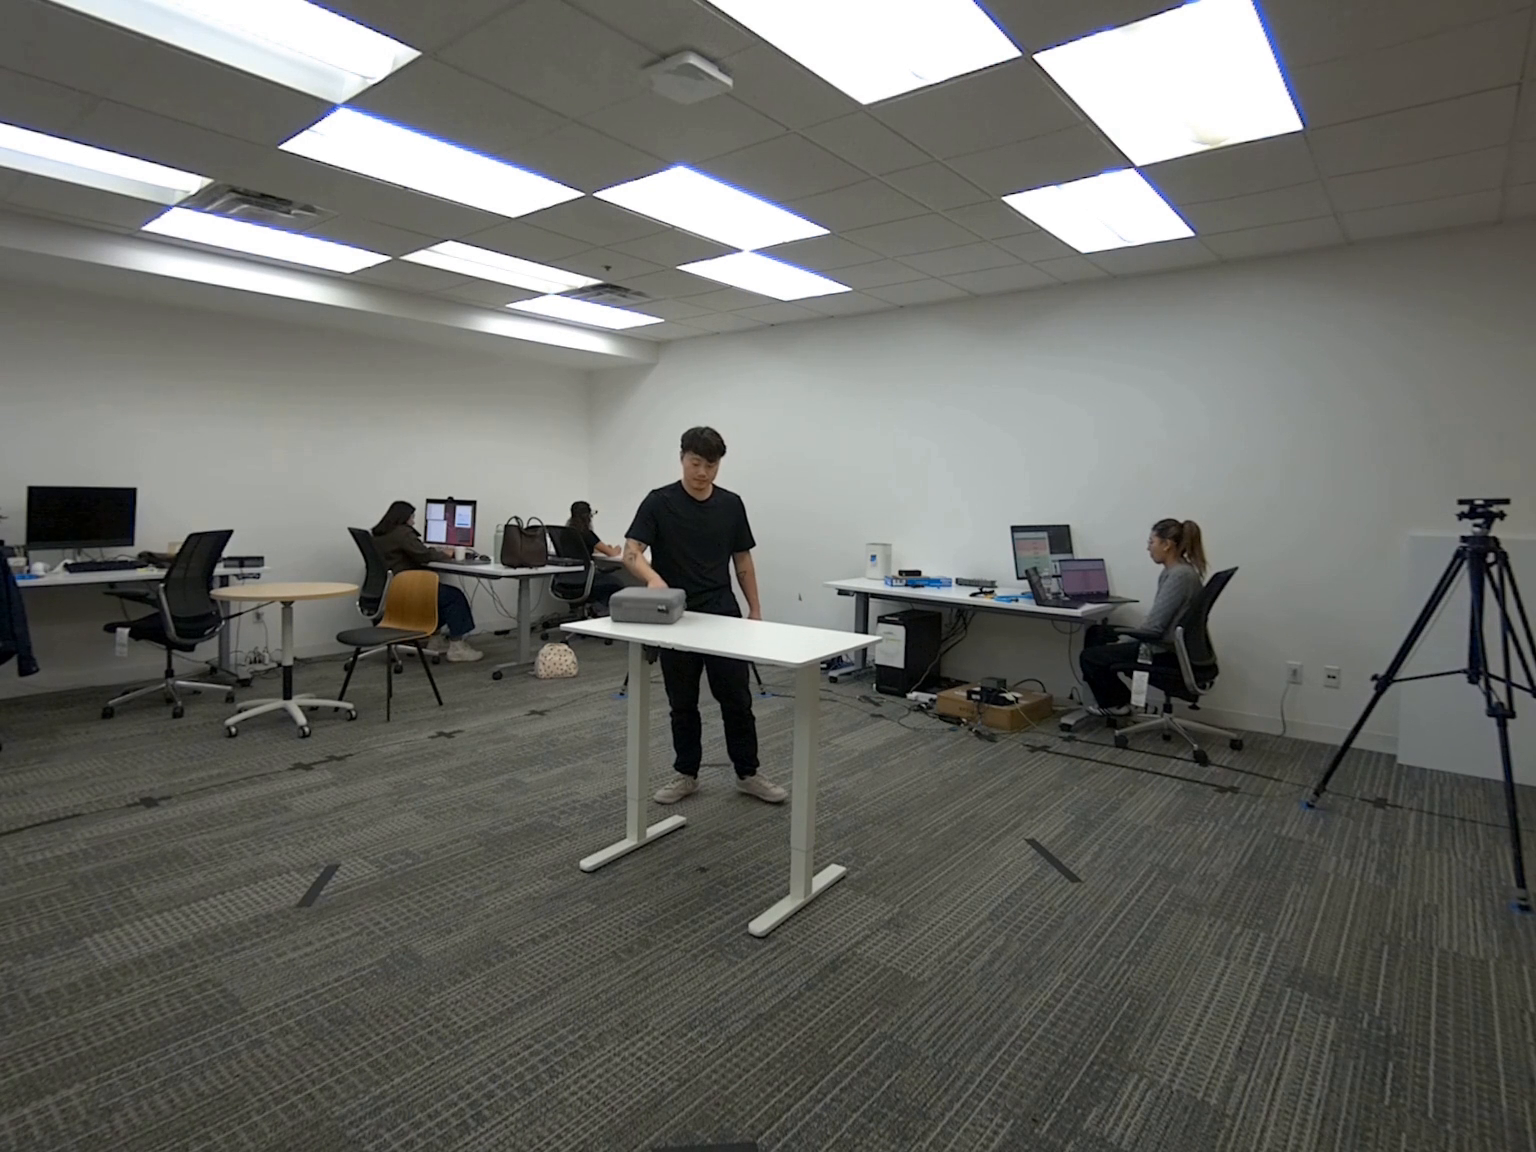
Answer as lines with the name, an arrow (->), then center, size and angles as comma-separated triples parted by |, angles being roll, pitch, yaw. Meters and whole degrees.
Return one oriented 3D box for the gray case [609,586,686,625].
gray case -> -0.473, 0.103, 3.268 | 0.259, 0.104, 0.260 | 1, 7, 5
